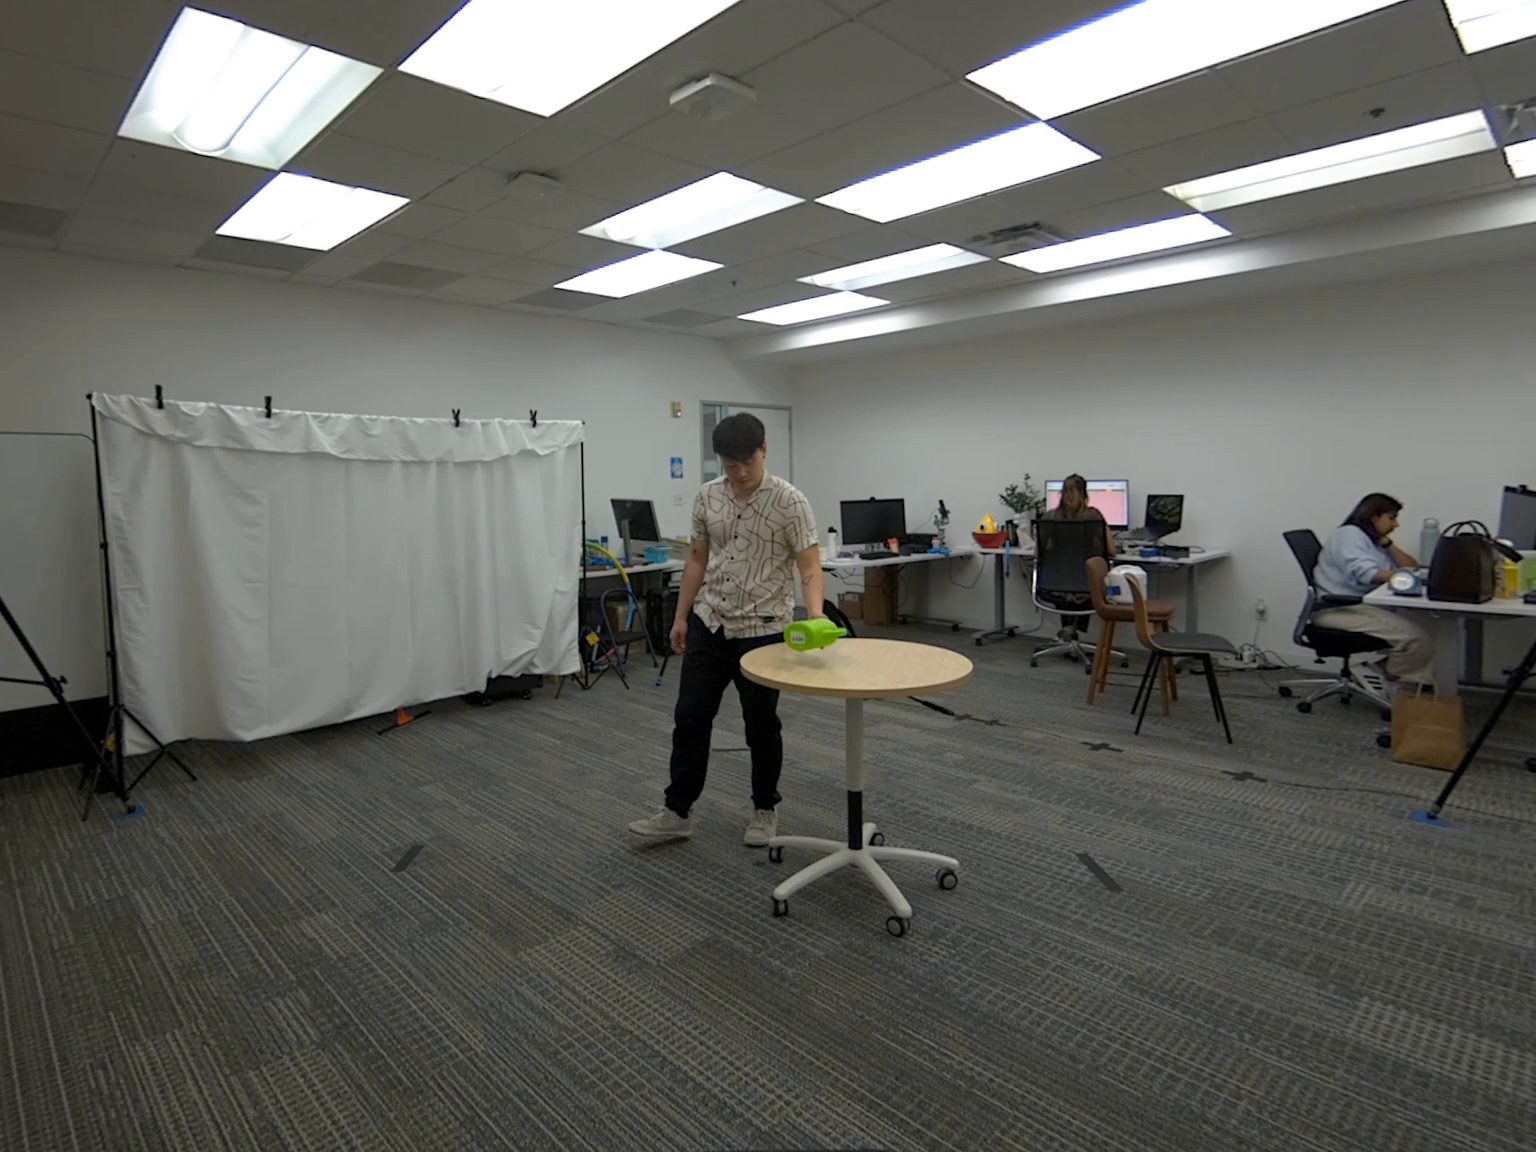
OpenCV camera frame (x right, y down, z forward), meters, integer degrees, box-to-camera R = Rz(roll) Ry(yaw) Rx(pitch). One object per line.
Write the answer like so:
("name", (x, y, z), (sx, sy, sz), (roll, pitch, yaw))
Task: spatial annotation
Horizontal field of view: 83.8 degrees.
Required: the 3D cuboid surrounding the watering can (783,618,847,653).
("watering can", (0.127, 0.207, 2.857), (0.172, 0.099, 0.282), (-4, -13, -44))
